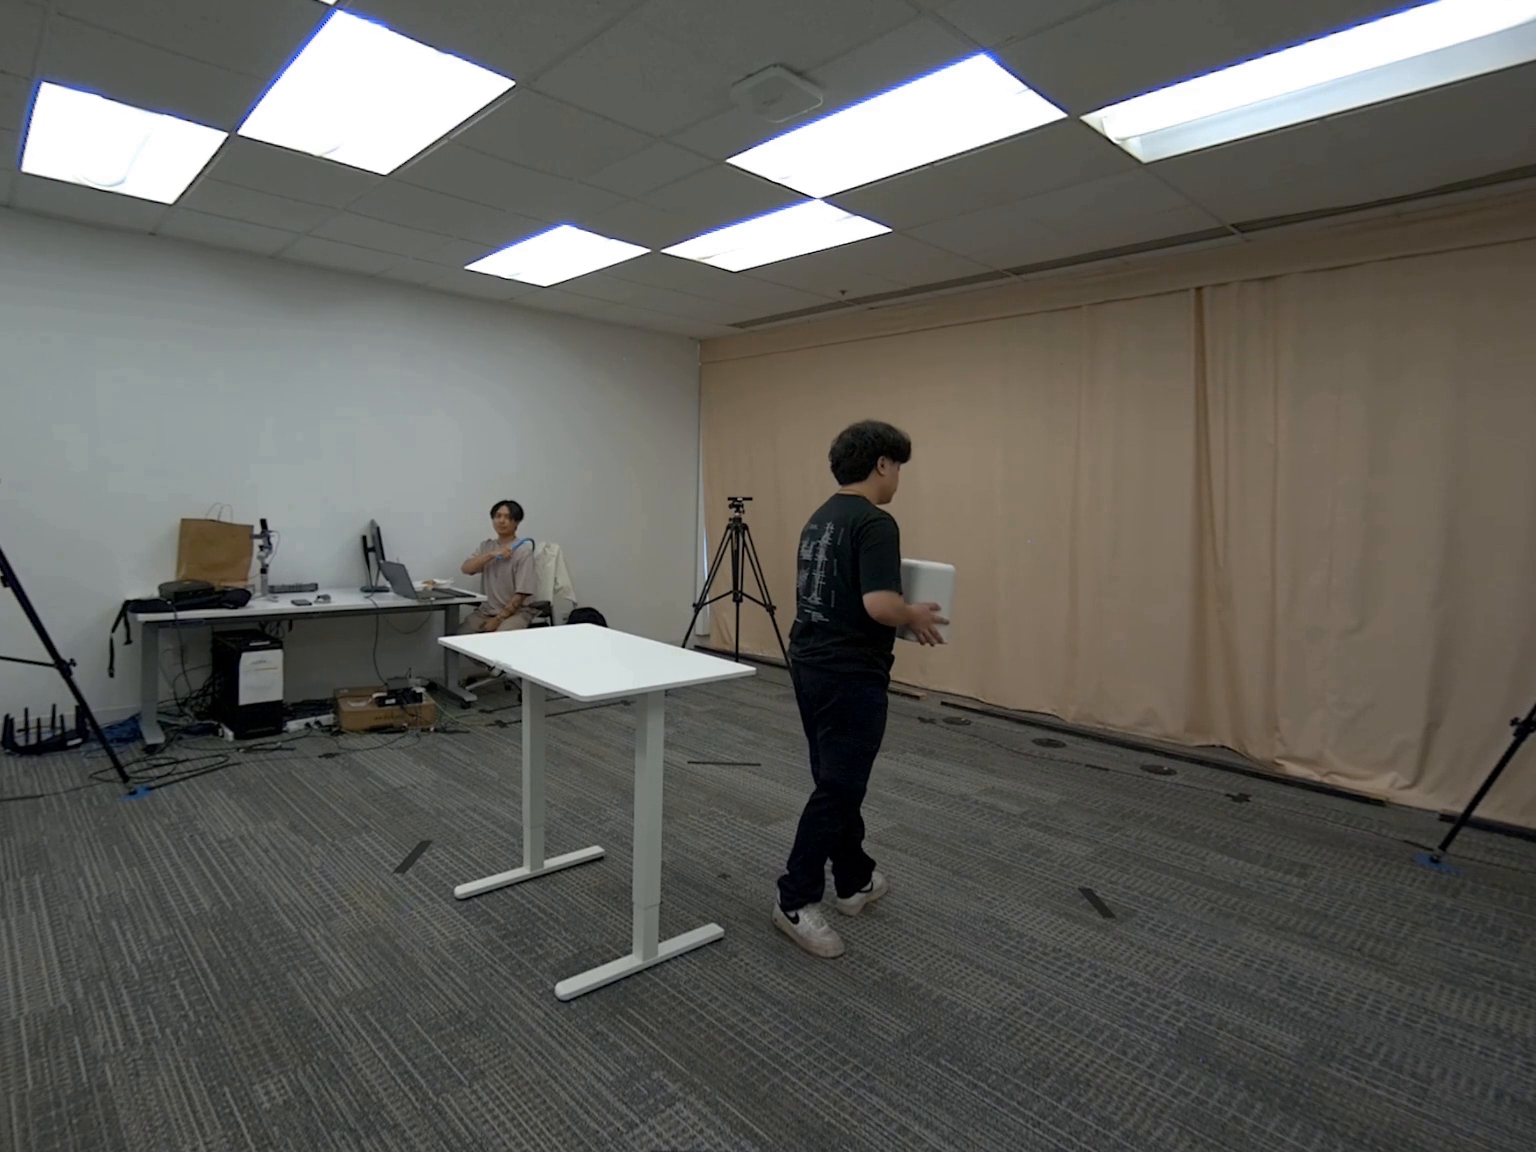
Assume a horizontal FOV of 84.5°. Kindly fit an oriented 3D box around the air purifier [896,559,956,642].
[{"bbox_3d":[0.506,0.075,2.842,0.170,0.265,0.173,5,4,-8],"label":"air purifier"}]
